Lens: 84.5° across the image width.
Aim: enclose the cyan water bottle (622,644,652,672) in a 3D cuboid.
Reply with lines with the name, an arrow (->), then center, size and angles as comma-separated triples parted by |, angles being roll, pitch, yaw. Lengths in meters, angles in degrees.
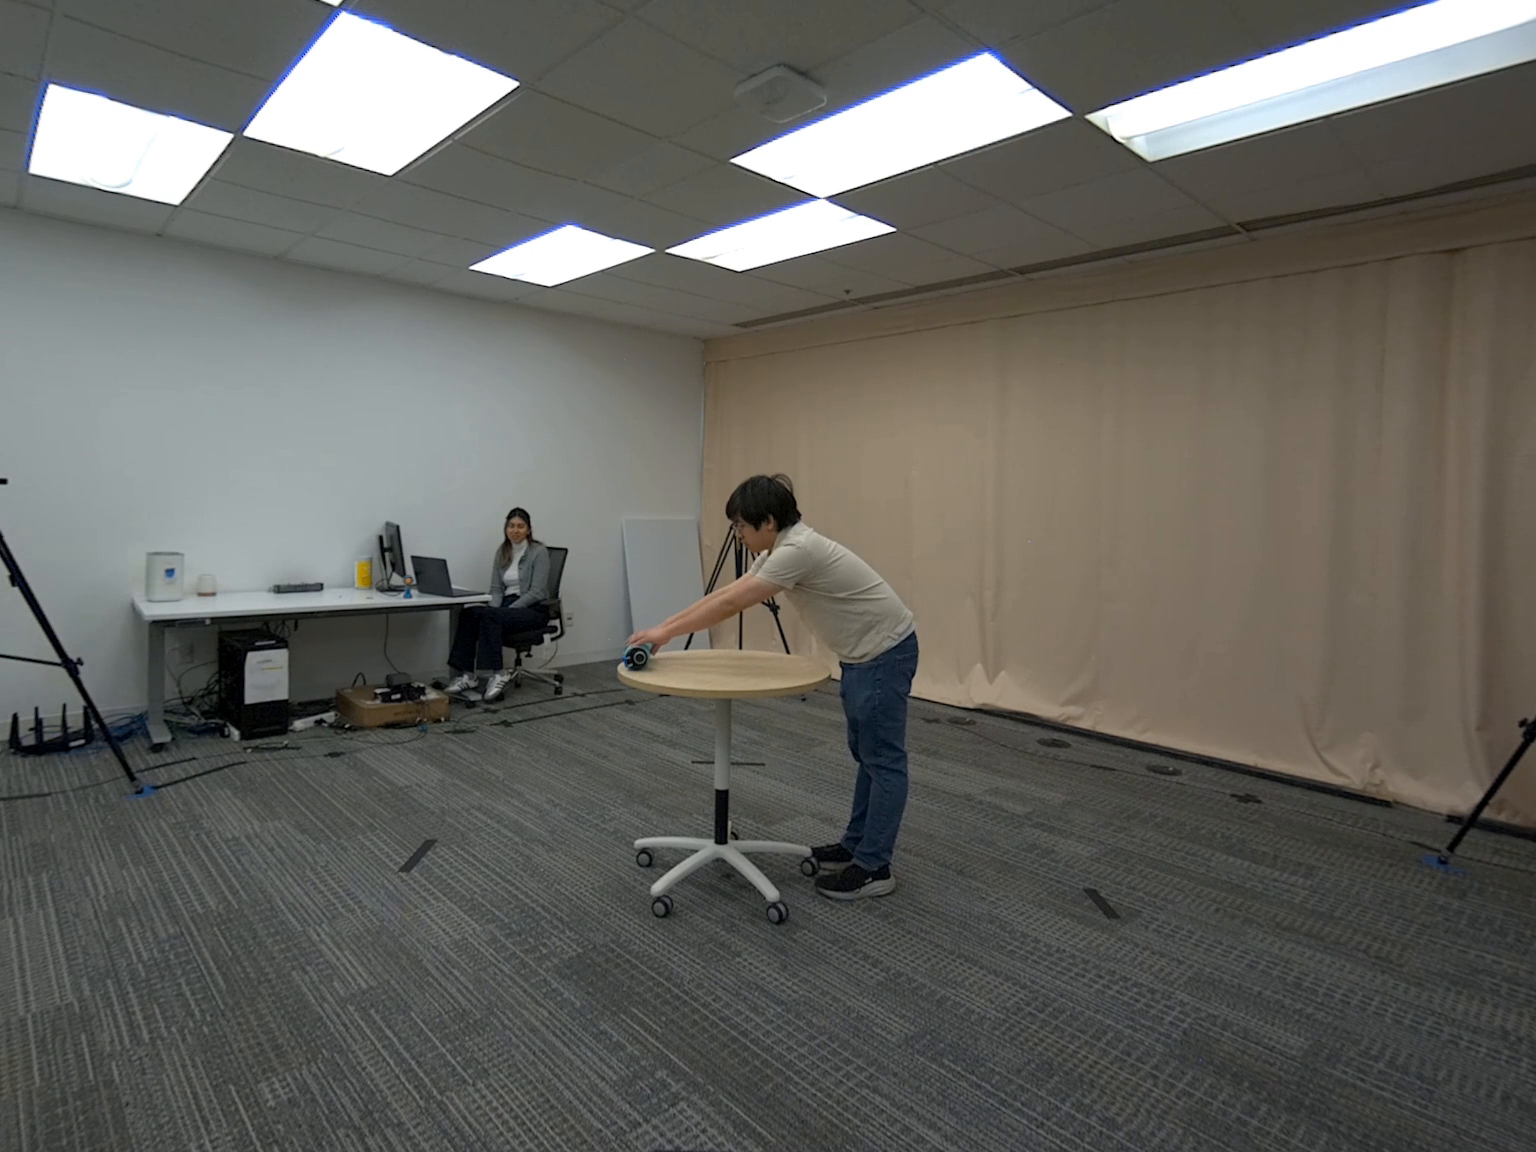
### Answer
cyan water bottle -> -0.476, 0.283, 3.052 | 0.092, 0.092, 0.284 | 1, 5, 1
